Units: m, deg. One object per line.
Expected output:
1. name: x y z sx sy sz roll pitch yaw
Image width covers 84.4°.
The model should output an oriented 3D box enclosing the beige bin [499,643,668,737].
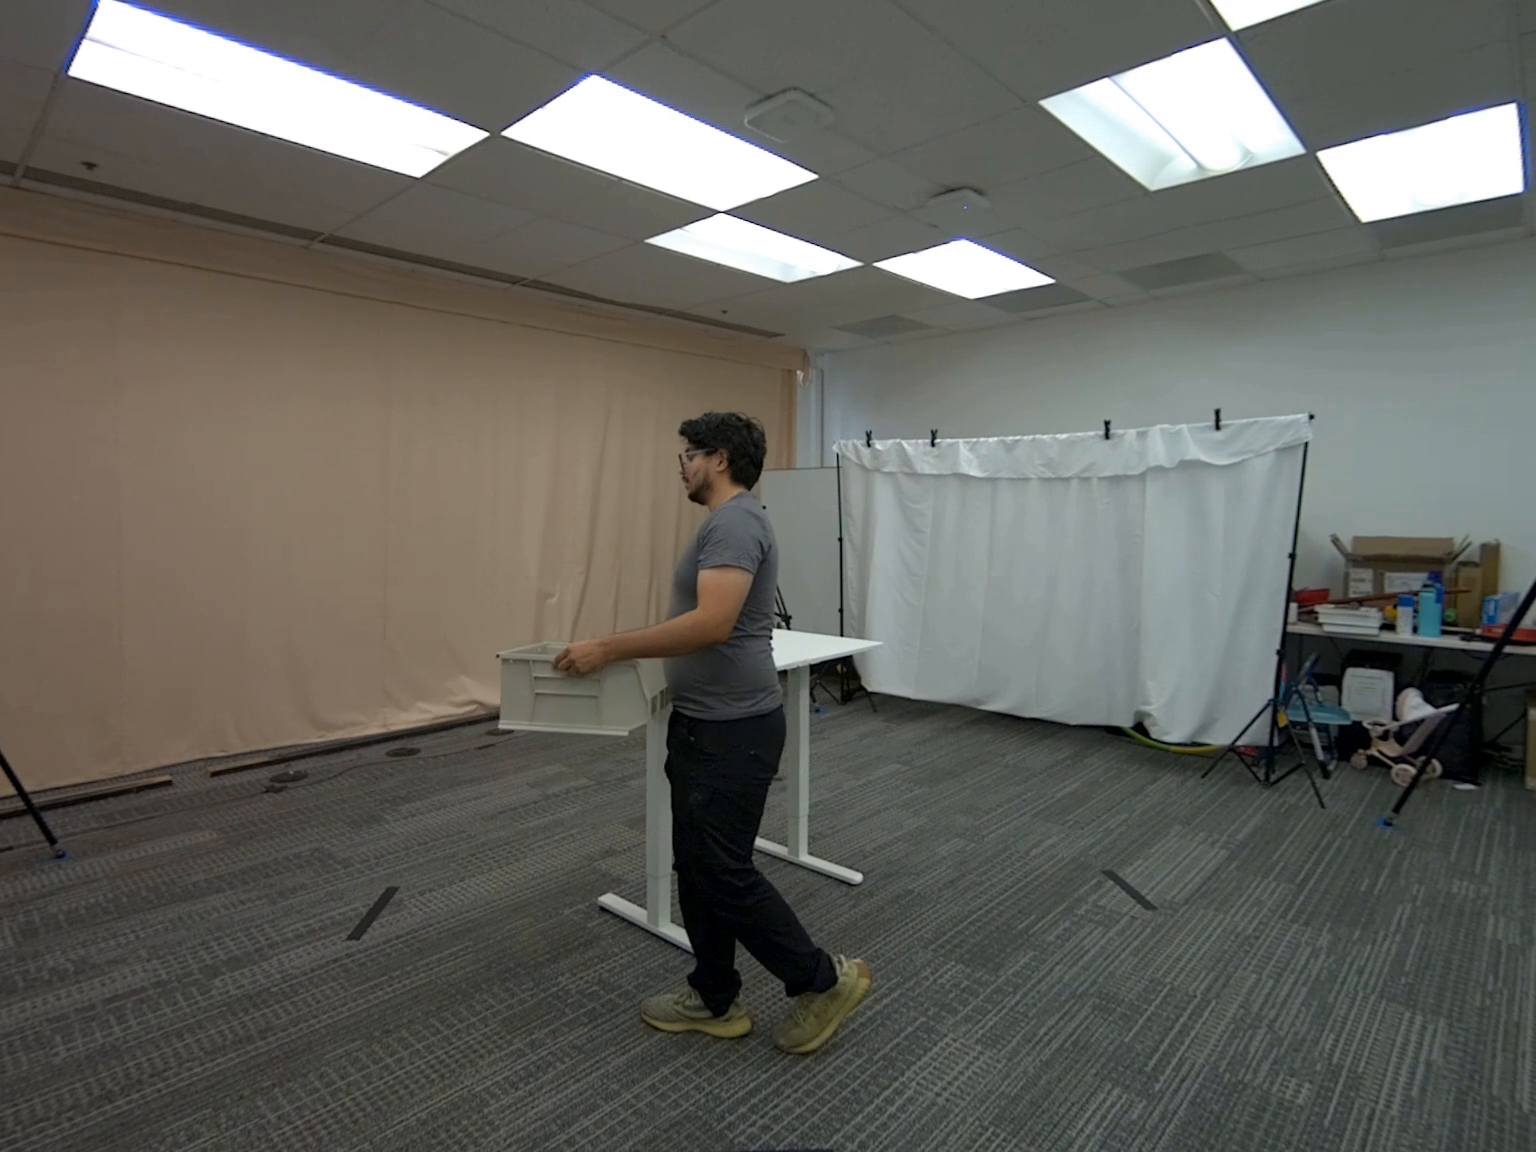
1. beige bin: -0.444 0.277 2.171 0.379 0.189 0.420 -1 0 3
